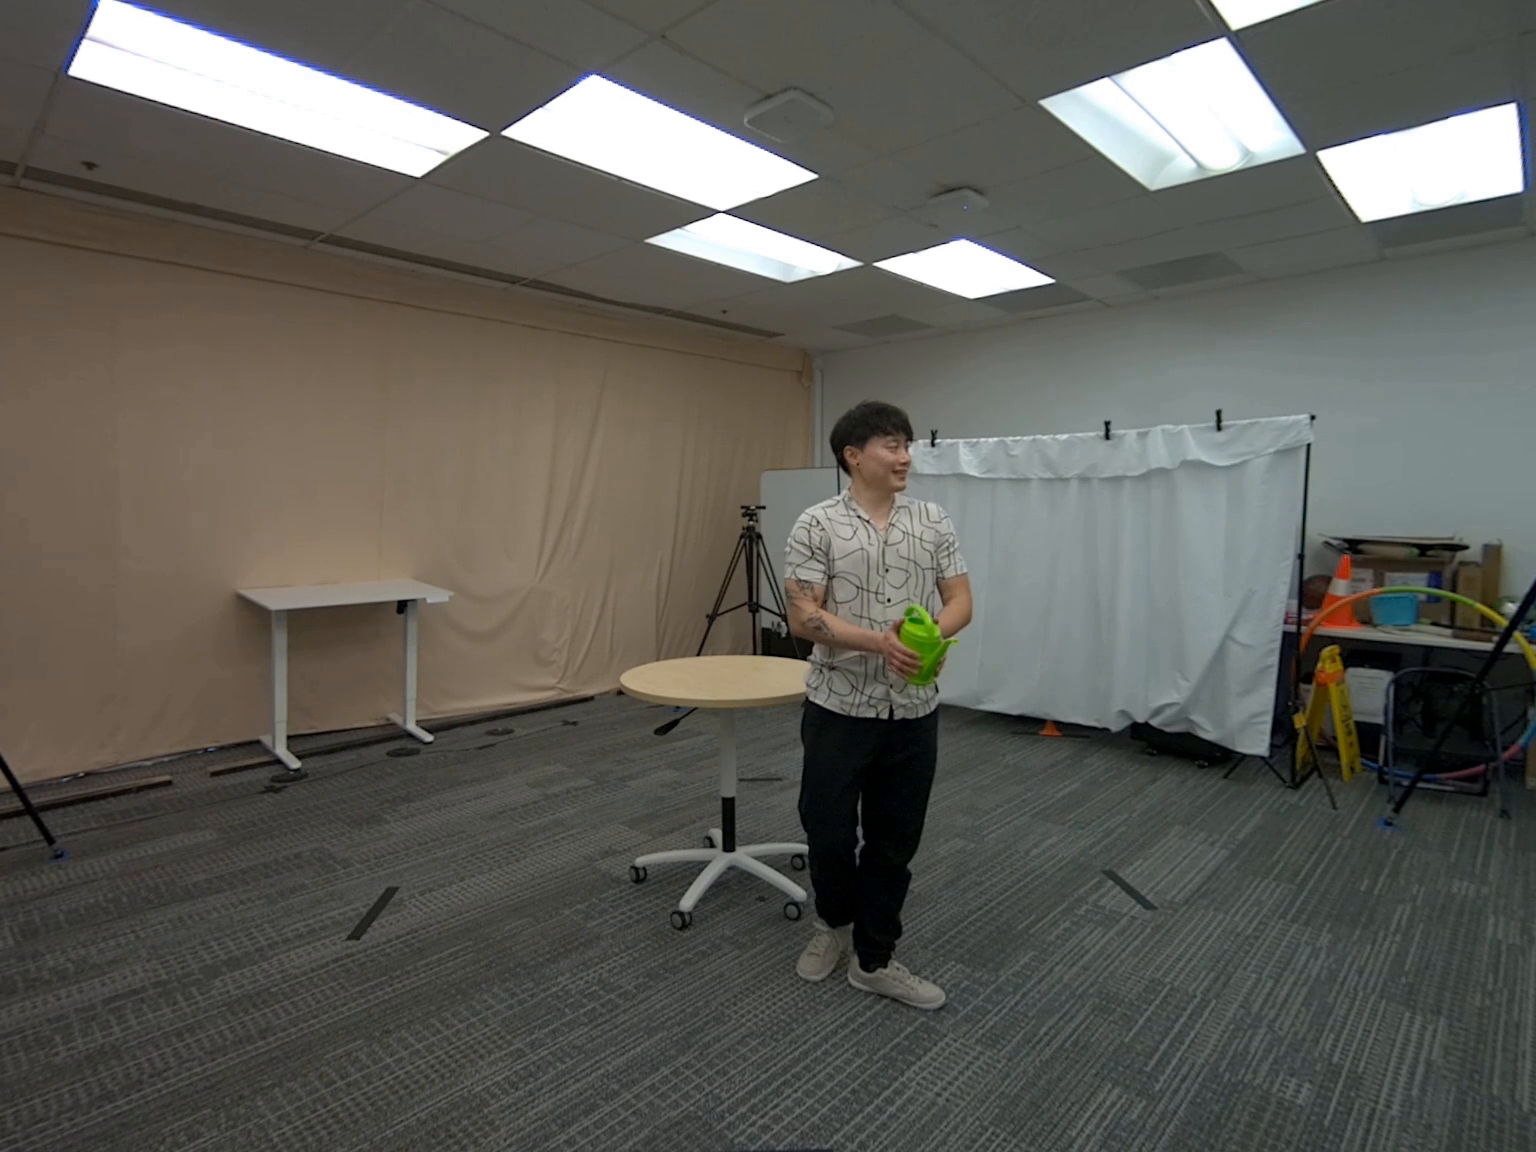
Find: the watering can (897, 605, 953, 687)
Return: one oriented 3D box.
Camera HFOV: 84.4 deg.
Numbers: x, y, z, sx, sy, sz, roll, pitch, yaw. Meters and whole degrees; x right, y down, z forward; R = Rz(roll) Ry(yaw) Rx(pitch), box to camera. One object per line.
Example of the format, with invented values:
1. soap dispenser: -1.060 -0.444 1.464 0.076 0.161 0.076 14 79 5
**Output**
1. watering can: 0.370 0.188 2.054 0.098 0.175 0.280 5 18 -1
